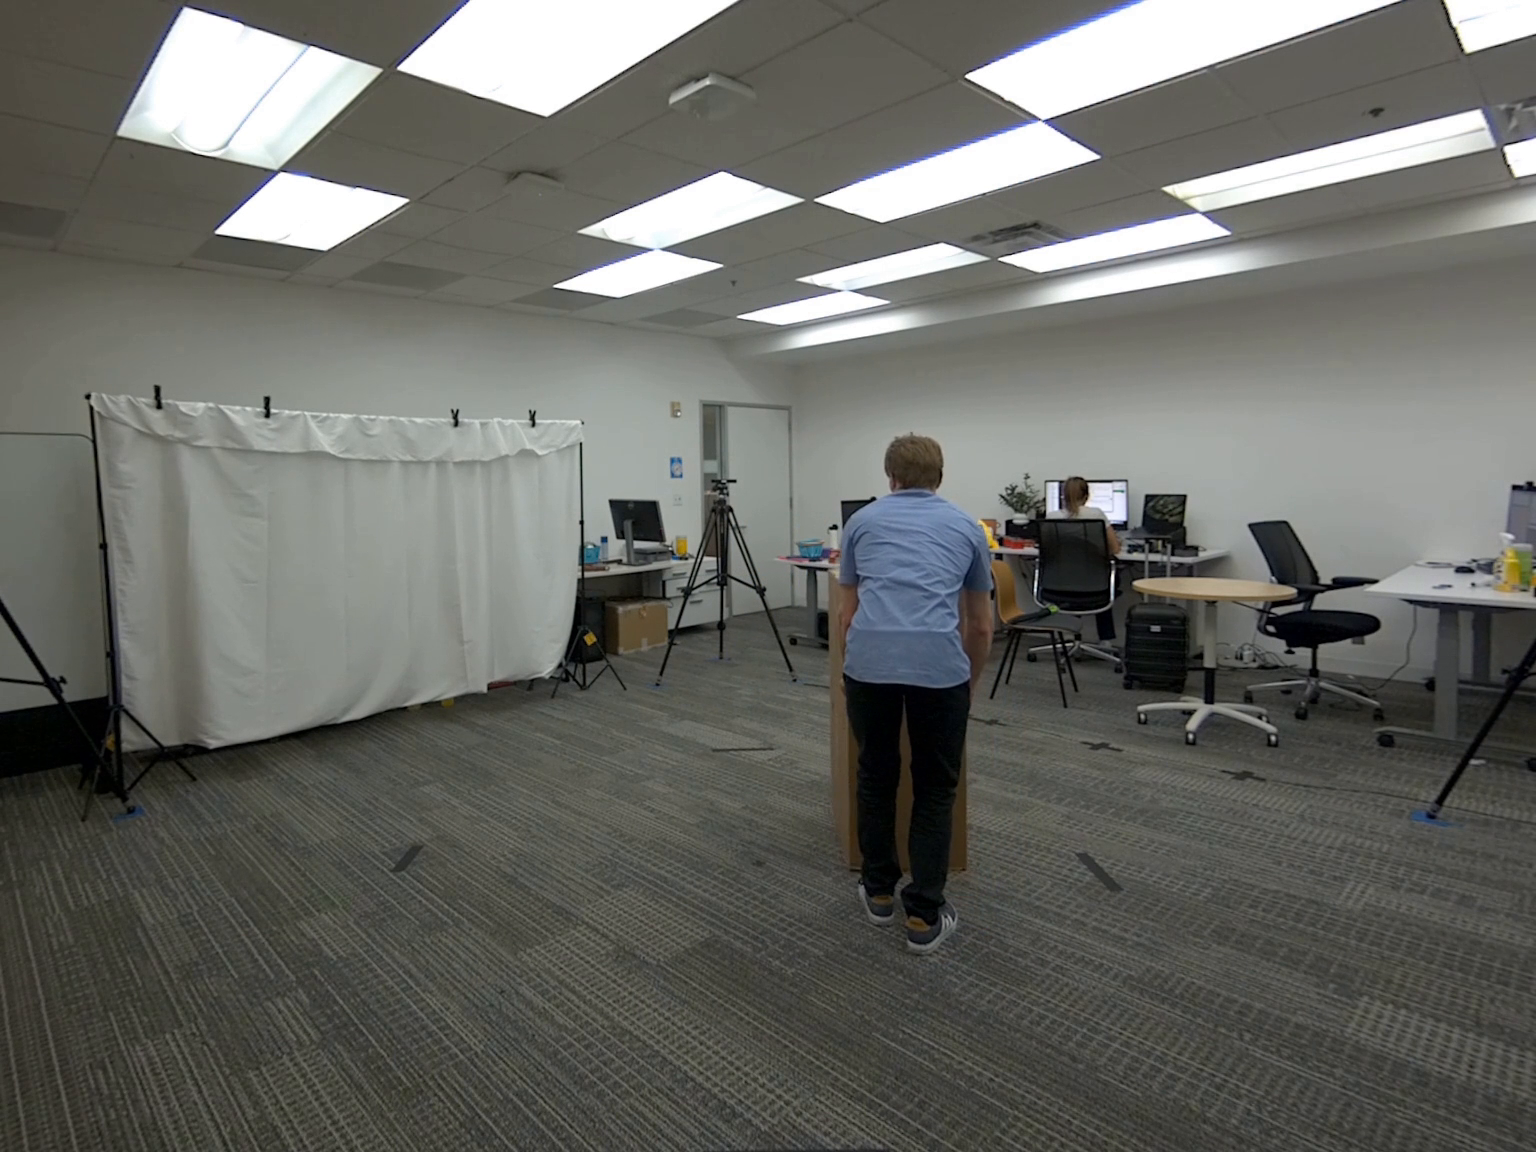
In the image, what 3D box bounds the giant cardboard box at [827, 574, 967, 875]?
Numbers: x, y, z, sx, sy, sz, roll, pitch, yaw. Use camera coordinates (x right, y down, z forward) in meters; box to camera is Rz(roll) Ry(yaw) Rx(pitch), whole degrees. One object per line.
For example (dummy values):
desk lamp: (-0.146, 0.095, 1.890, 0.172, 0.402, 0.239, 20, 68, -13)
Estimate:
giant cardboard box: (0.485, 0.506, 3.287, 0.426, 1.023, 0.579, -1, 3, 0)
